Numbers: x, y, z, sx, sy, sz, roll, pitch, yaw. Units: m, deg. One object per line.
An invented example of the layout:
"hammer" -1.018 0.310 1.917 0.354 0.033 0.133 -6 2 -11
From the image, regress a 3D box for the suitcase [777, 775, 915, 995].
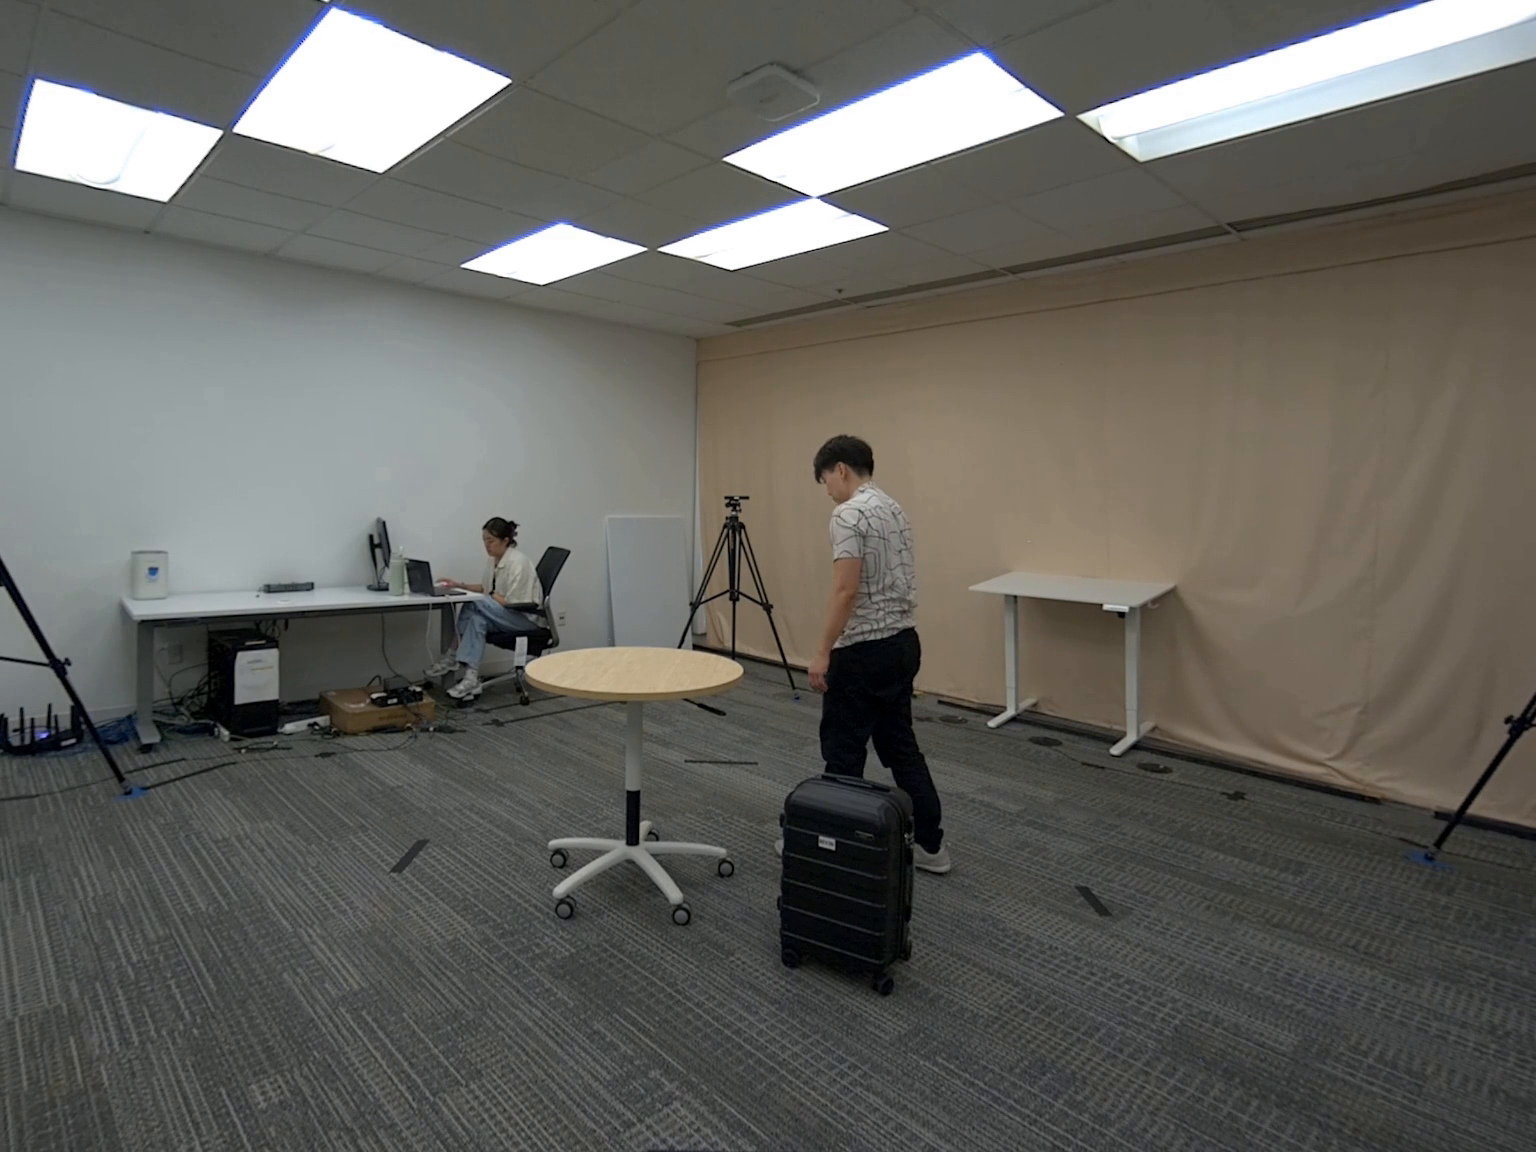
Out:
"suitcase" 0.235 0.892 2.523 0.383 0.548 0.244 3 5 30
